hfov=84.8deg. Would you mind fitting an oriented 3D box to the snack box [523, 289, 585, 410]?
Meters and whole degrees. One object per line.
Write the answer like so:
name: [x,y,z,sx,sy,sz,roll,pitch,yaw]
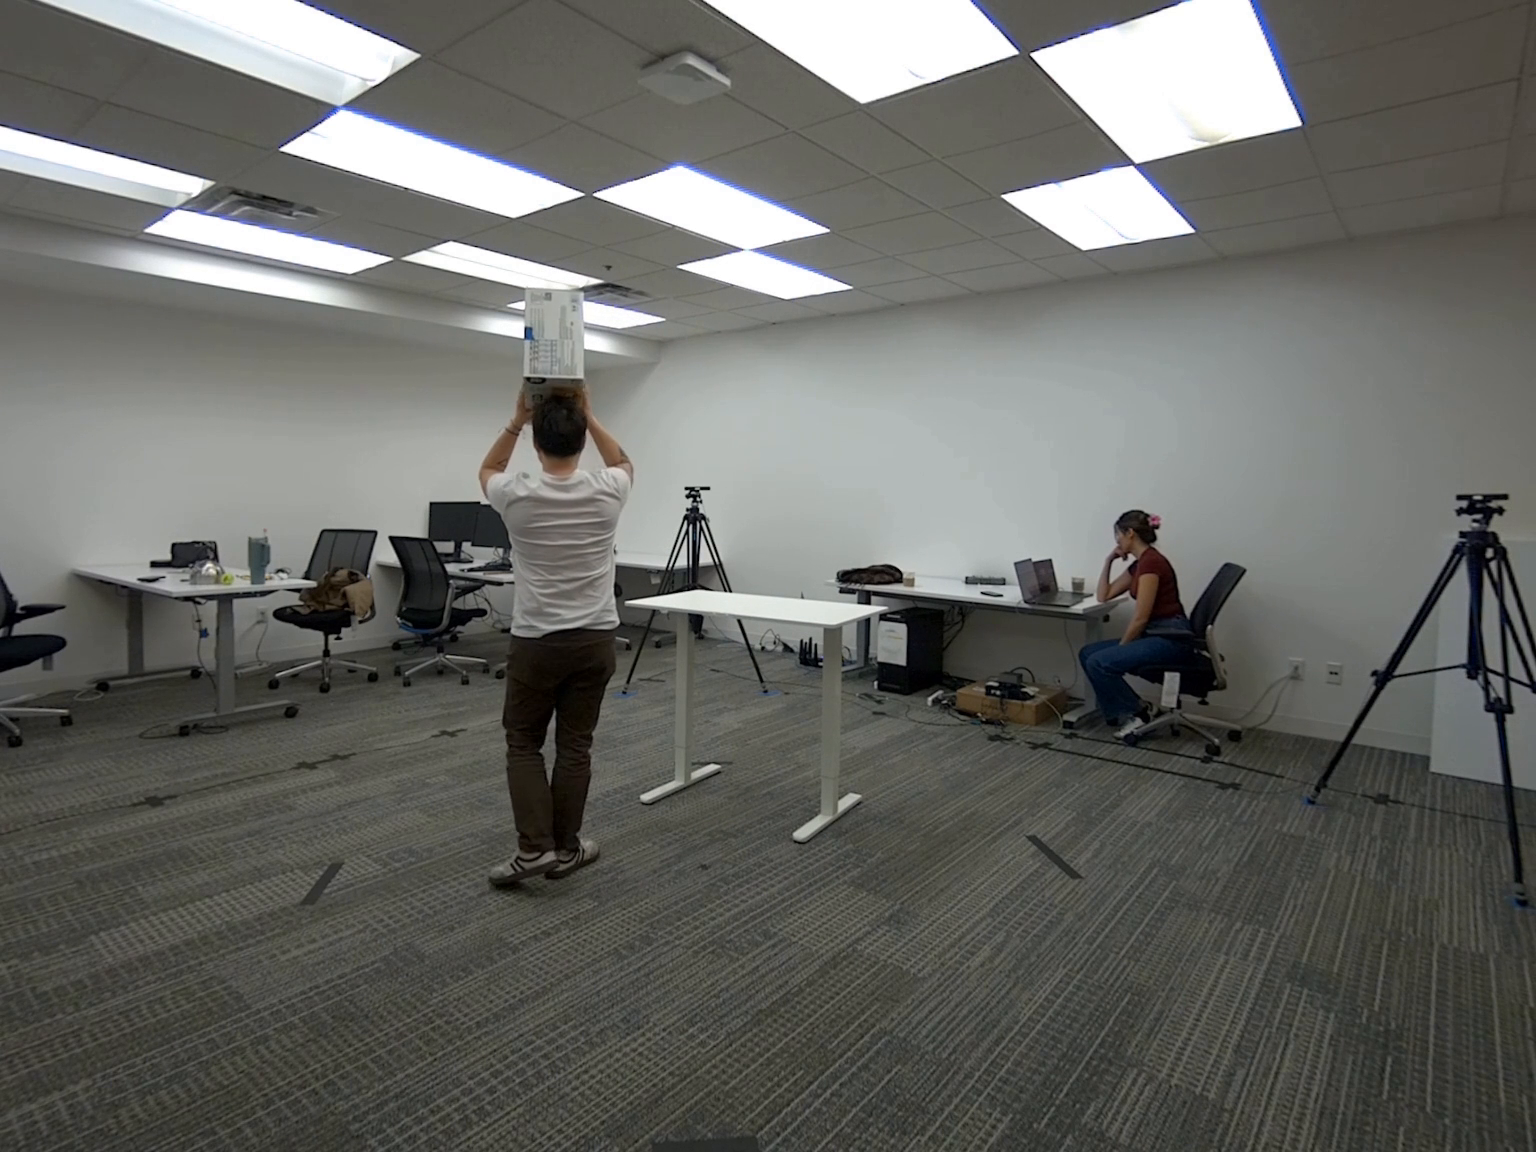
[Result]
snack box: [-0.787,-0.784,3.079,0.203,0.346,0.404,-1,-15,-14]
